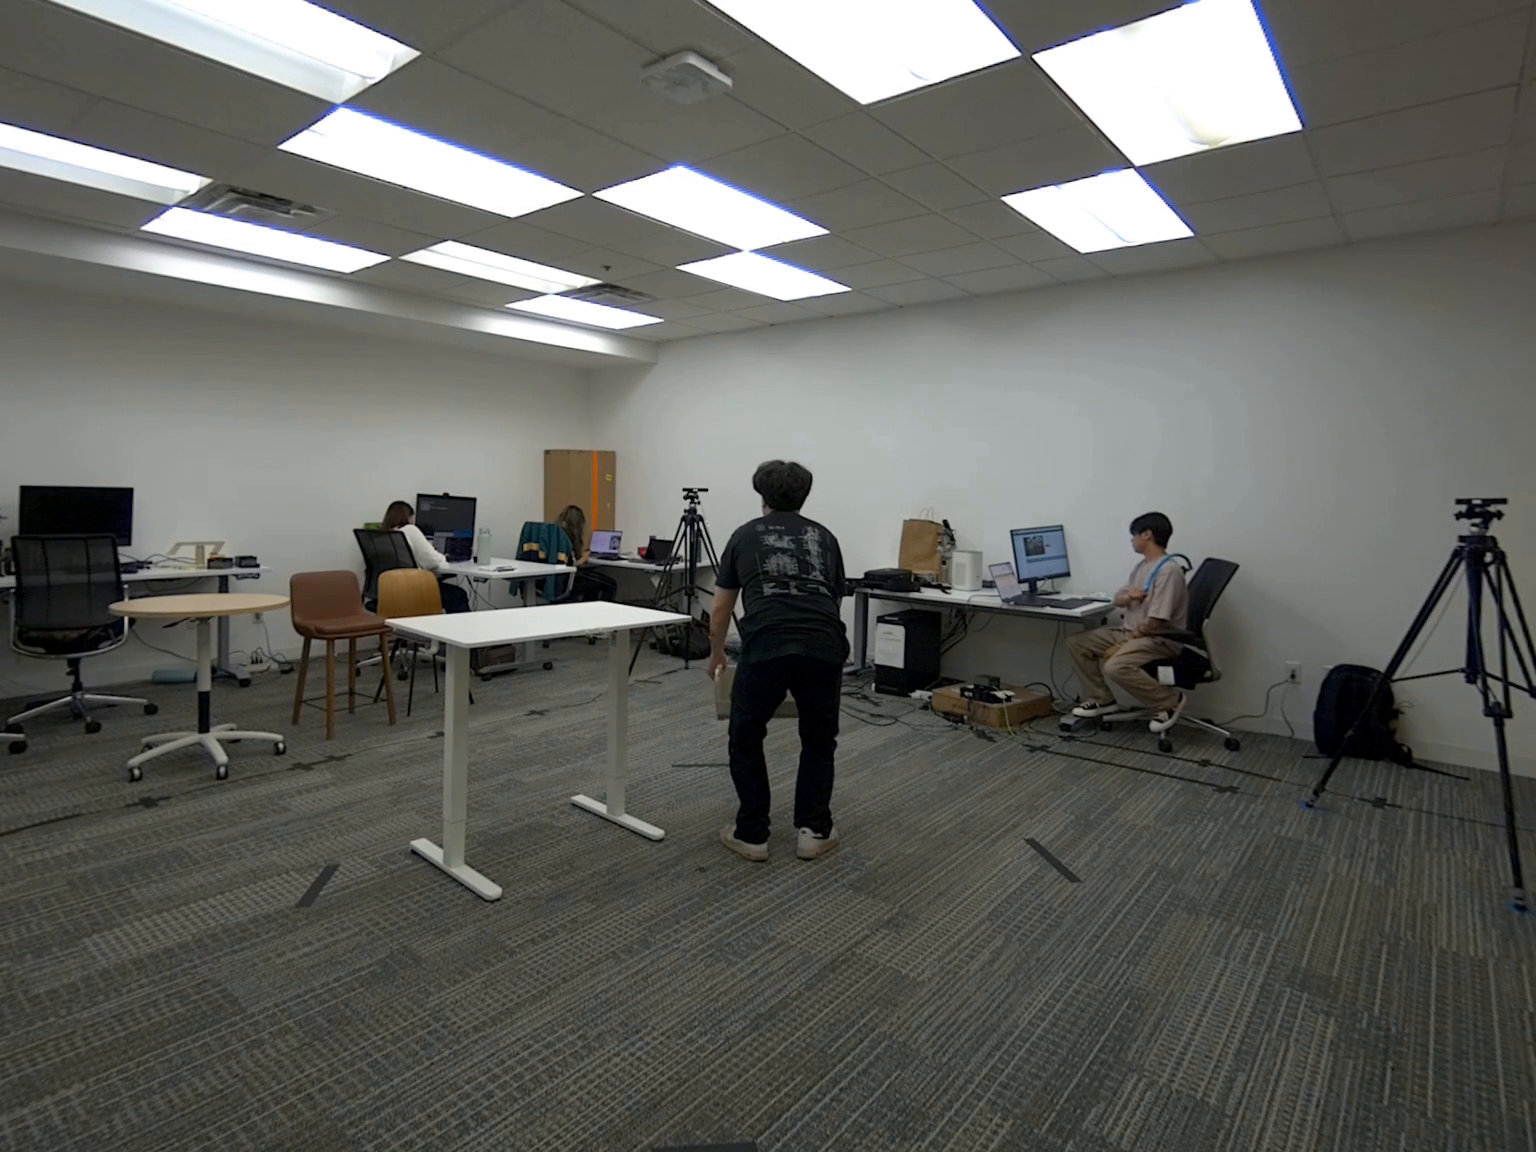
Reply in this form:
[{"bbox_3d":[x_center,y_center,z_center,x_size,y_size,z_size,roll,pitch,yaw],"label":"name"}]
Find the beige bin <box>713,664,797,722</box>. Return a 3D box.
[{"bbox_3d":[-0.023,0.492,3.644,0.422,0.189,0.379,-2,3,-2],"label":"beige bin"}]
